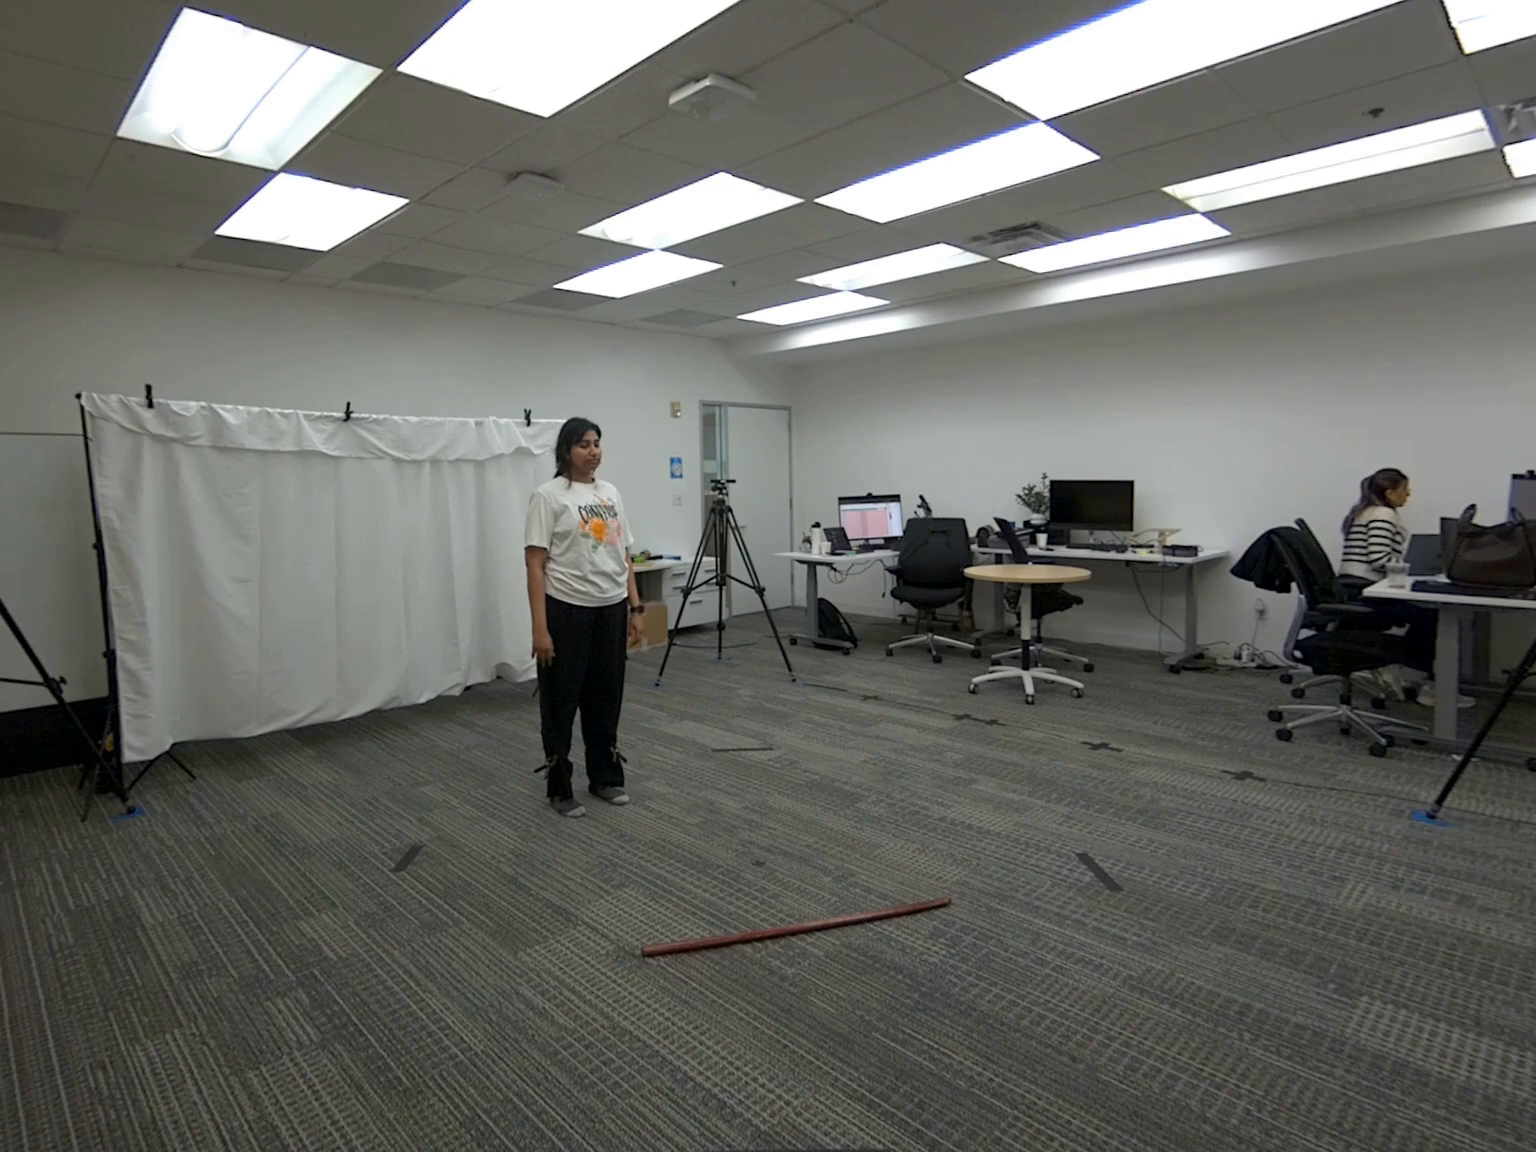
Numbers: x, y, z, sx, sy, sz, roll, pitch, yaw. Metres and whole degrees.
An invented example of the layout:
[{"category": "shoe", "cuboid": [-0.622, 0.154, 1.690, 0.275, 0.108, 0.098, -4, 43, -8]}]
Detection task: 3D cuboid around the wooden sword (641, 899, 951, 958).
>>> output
[{"category": "wooden sword", "cuboid": [0.117, 1.076, 2.655, 1.011, 0.024, 0.052, -3, 0, -15]}]
